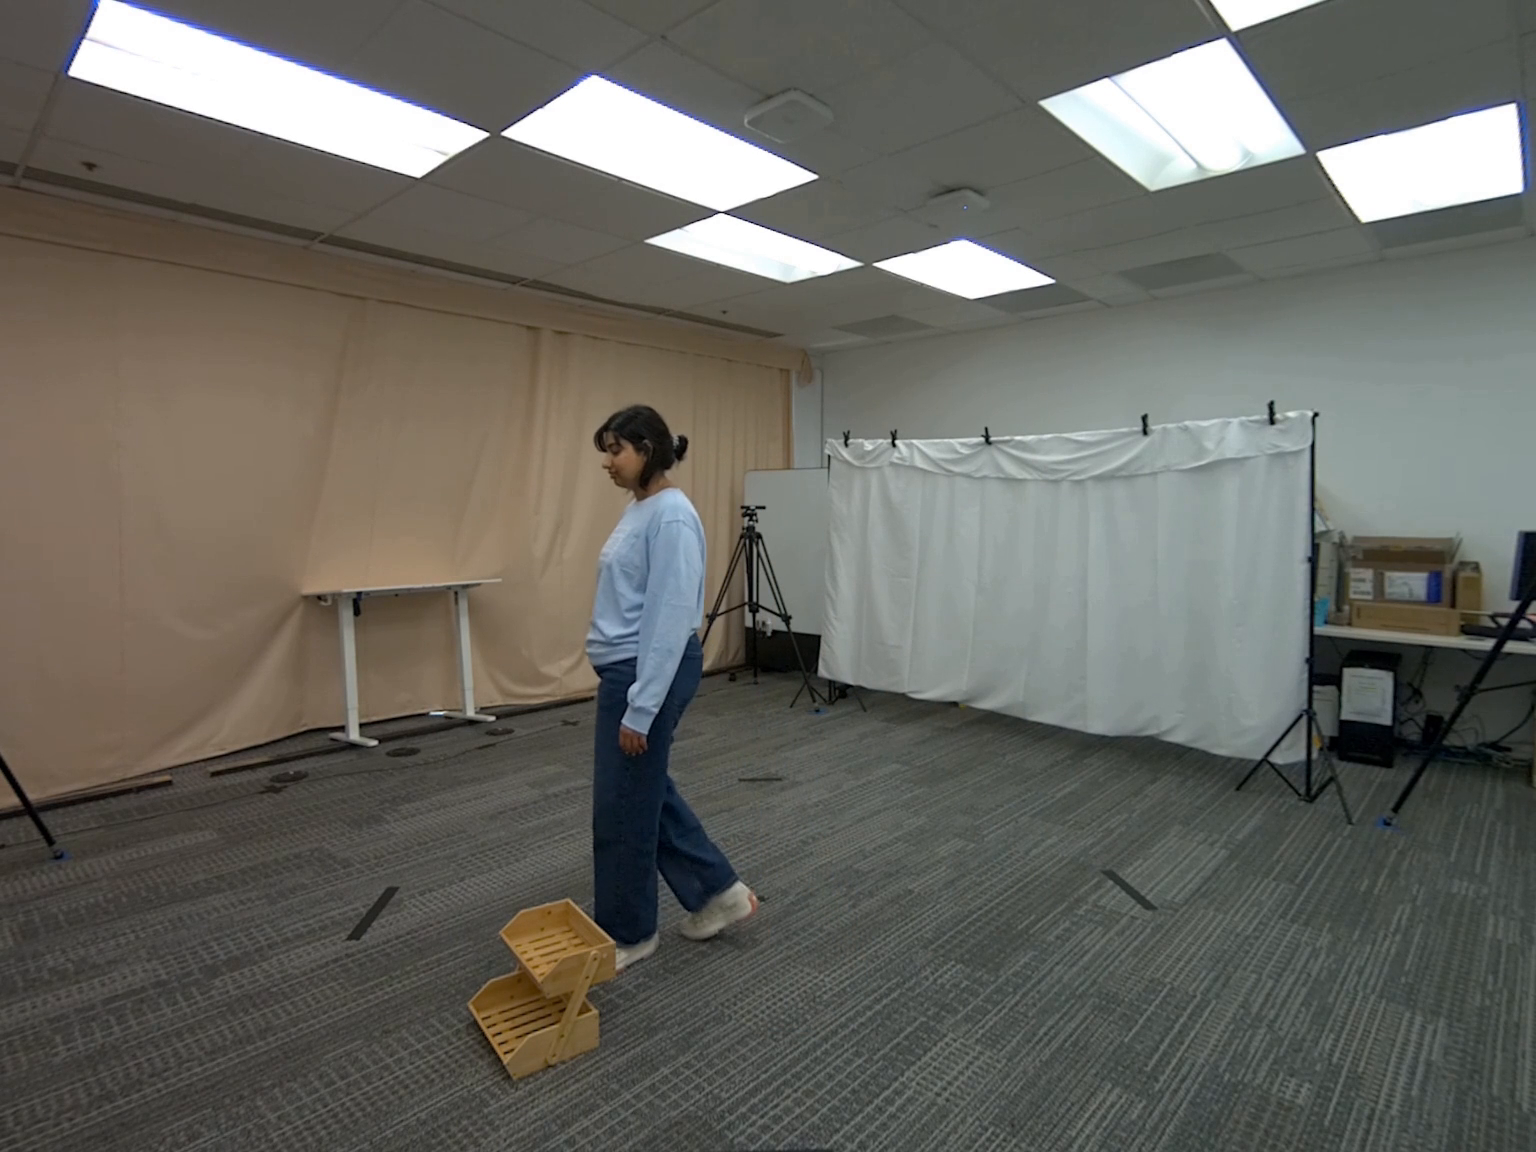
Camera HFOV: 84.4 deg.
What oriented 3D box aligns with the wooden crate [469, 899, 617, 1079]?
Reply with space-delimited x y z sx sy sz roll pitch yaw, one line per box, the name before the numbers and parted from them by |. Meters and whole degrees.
wooden crate | -0.616 1.085 2.223 0.293 0.273 0.335 -3 5 -35
